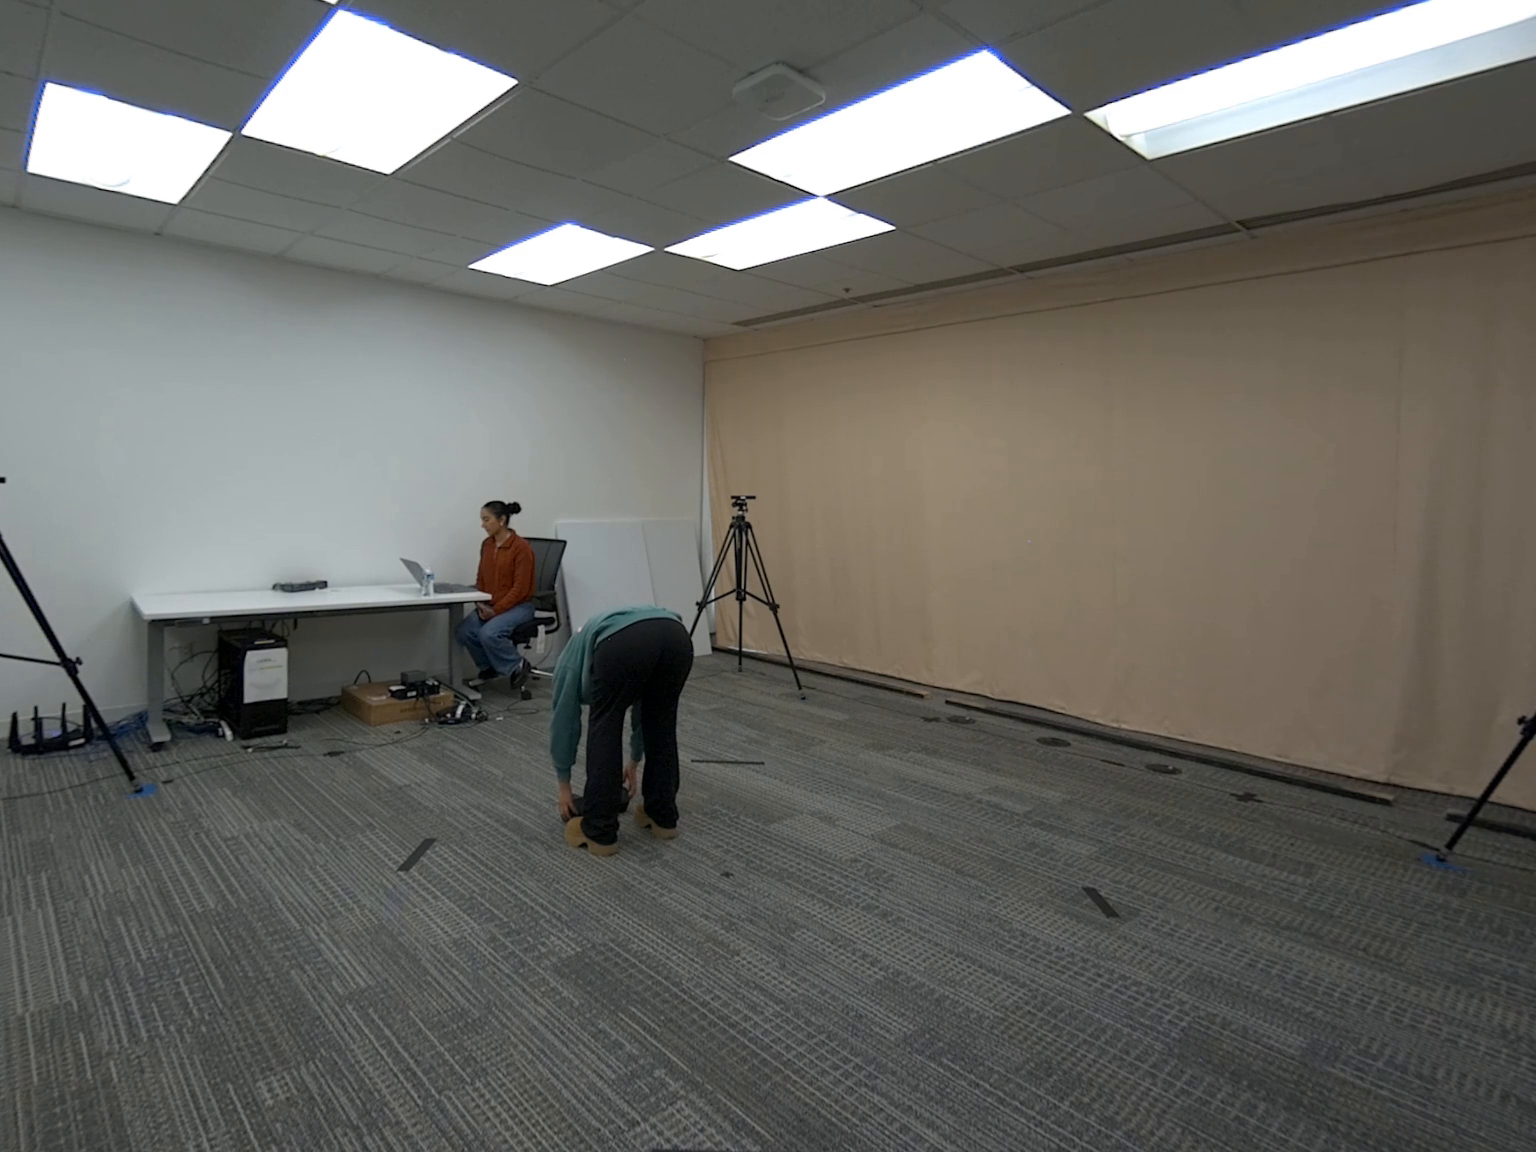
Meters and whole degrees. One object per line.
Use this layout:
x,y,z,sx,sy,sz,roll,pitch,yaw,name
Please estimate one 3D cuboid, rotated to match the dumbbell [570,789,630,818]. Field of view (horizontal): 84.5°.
-0.754,0.991,3.640,0.287,0.125,0.109,-1,-28,-40,dumbbell
